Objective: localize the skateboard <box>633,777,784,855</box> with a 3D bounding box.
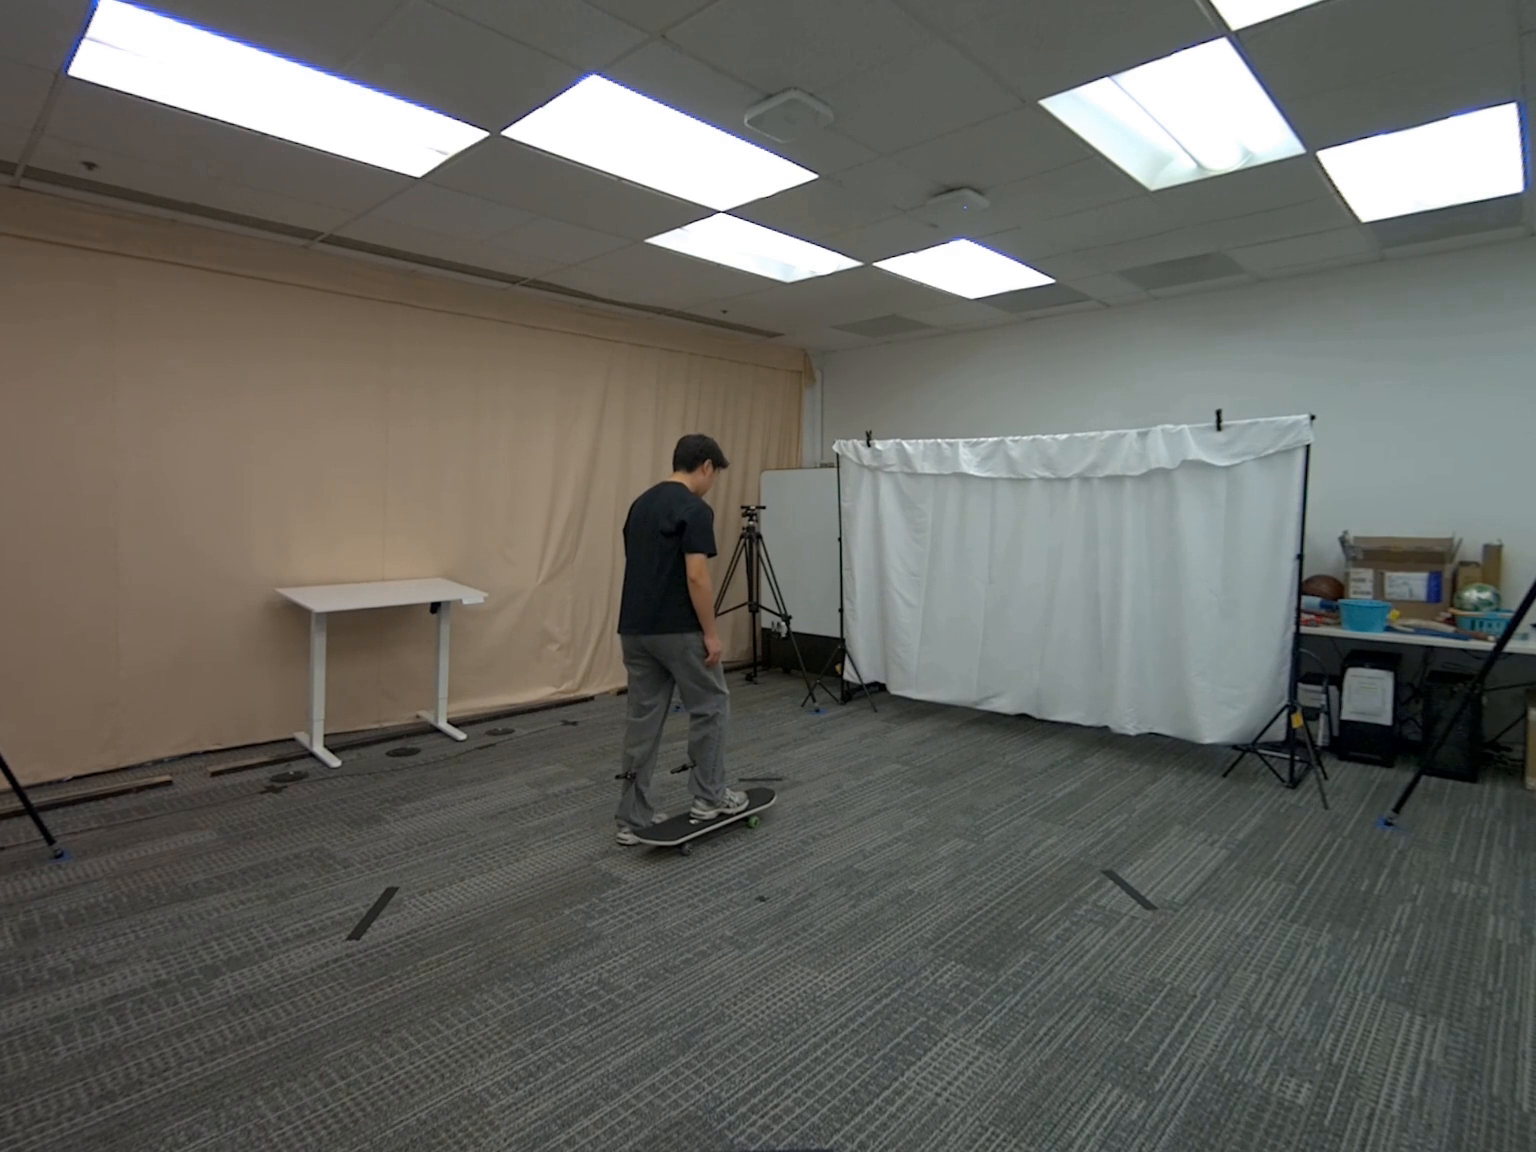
[{"bbox_3d":[-0.256,1.050,3.546,0.200,0.110,0.762,3,6,42],"label":"skateboard"}]
